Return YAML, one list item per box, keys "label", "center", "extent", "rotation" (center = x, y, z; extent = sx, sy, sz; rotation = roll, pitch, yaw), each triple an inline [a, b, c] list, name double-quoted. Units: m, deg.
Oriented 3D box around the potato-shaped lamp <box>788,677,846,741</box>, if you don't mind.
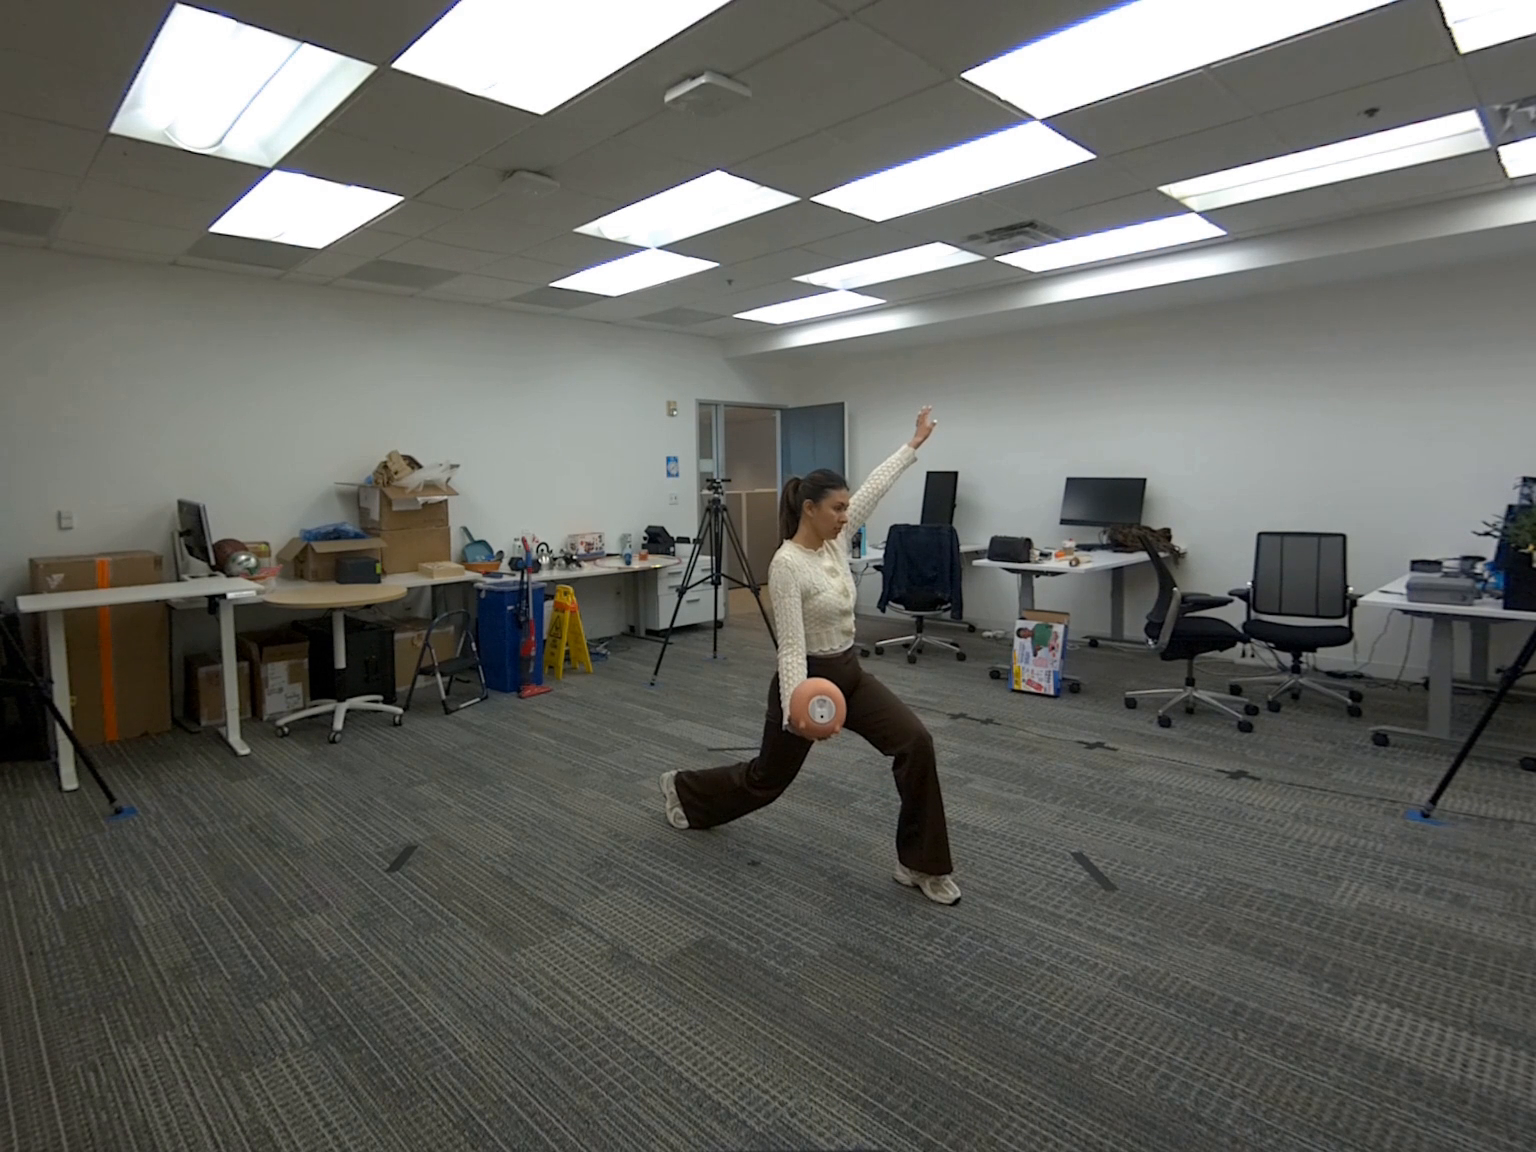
- label: "potato-shaped lamp"
  center: [0.137, 0.396, 2.540]
  extent: [0.163, 0.173, 0.198]
  rotation: [6, -13, -12]
